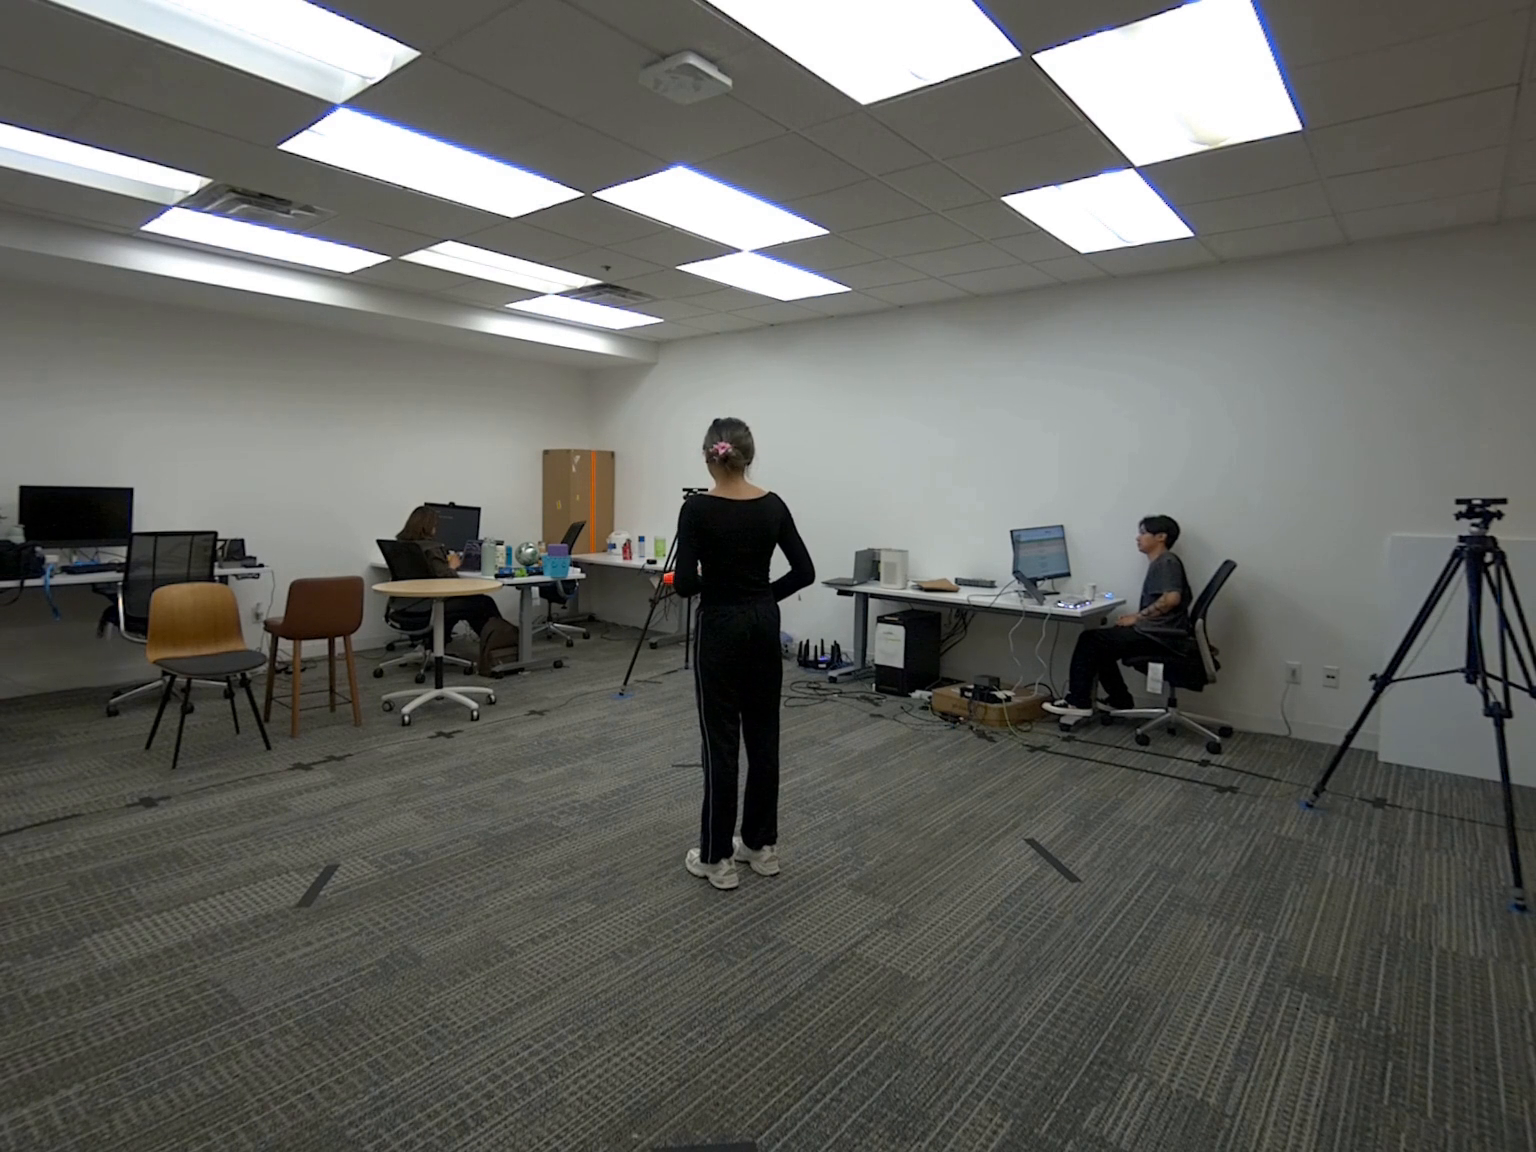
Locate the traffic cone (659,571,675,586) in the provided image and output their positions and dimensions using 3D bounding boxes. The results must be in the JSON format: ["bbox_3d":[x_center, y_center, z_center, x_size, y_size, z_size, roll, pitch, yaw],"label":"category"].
[{"bbox_3d":[-0.227,-0.022,3.235,0.382,0.209,0.200,-8,-28,-4],"label":"traffic cone"}]
